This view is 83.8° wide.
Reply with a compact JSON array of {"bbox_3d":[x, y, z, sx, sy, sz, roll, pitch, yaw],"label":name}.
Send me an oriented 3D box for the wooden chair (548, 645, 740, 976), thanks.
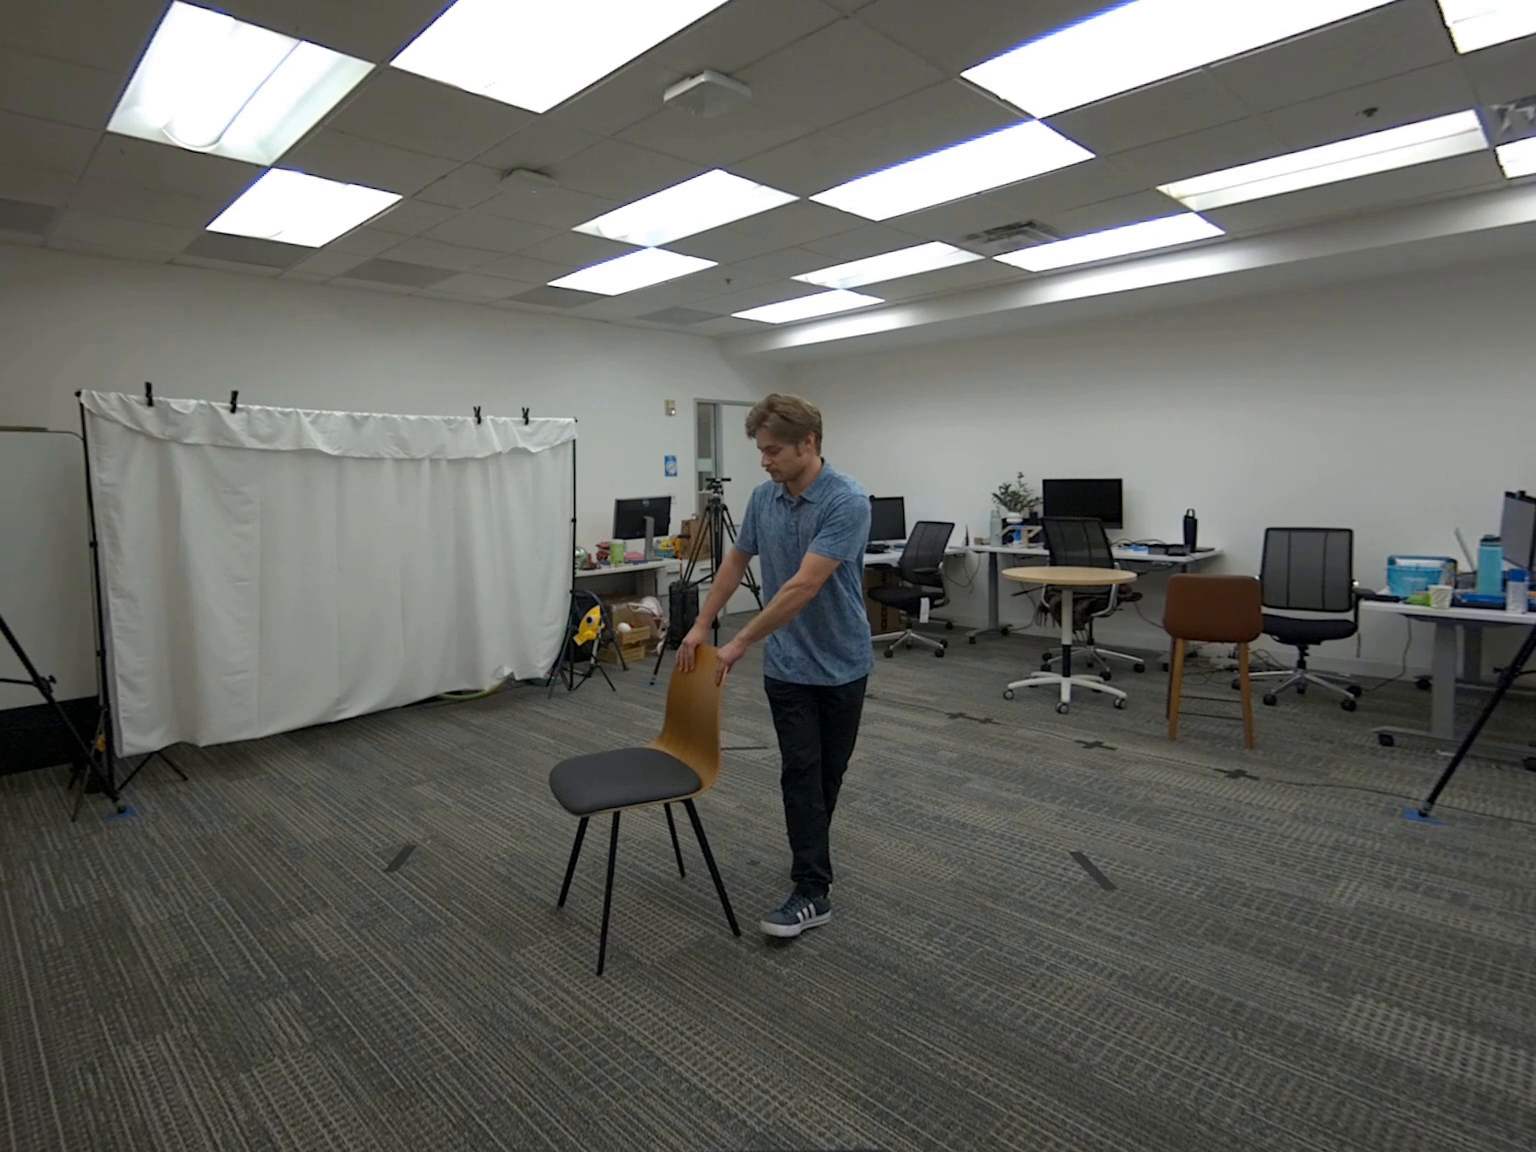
[{"bbox_3d":[-0.401,0.669,2.671,0.511,0.875,0.490,1,3,-26],"label":"wooden chair"}]
